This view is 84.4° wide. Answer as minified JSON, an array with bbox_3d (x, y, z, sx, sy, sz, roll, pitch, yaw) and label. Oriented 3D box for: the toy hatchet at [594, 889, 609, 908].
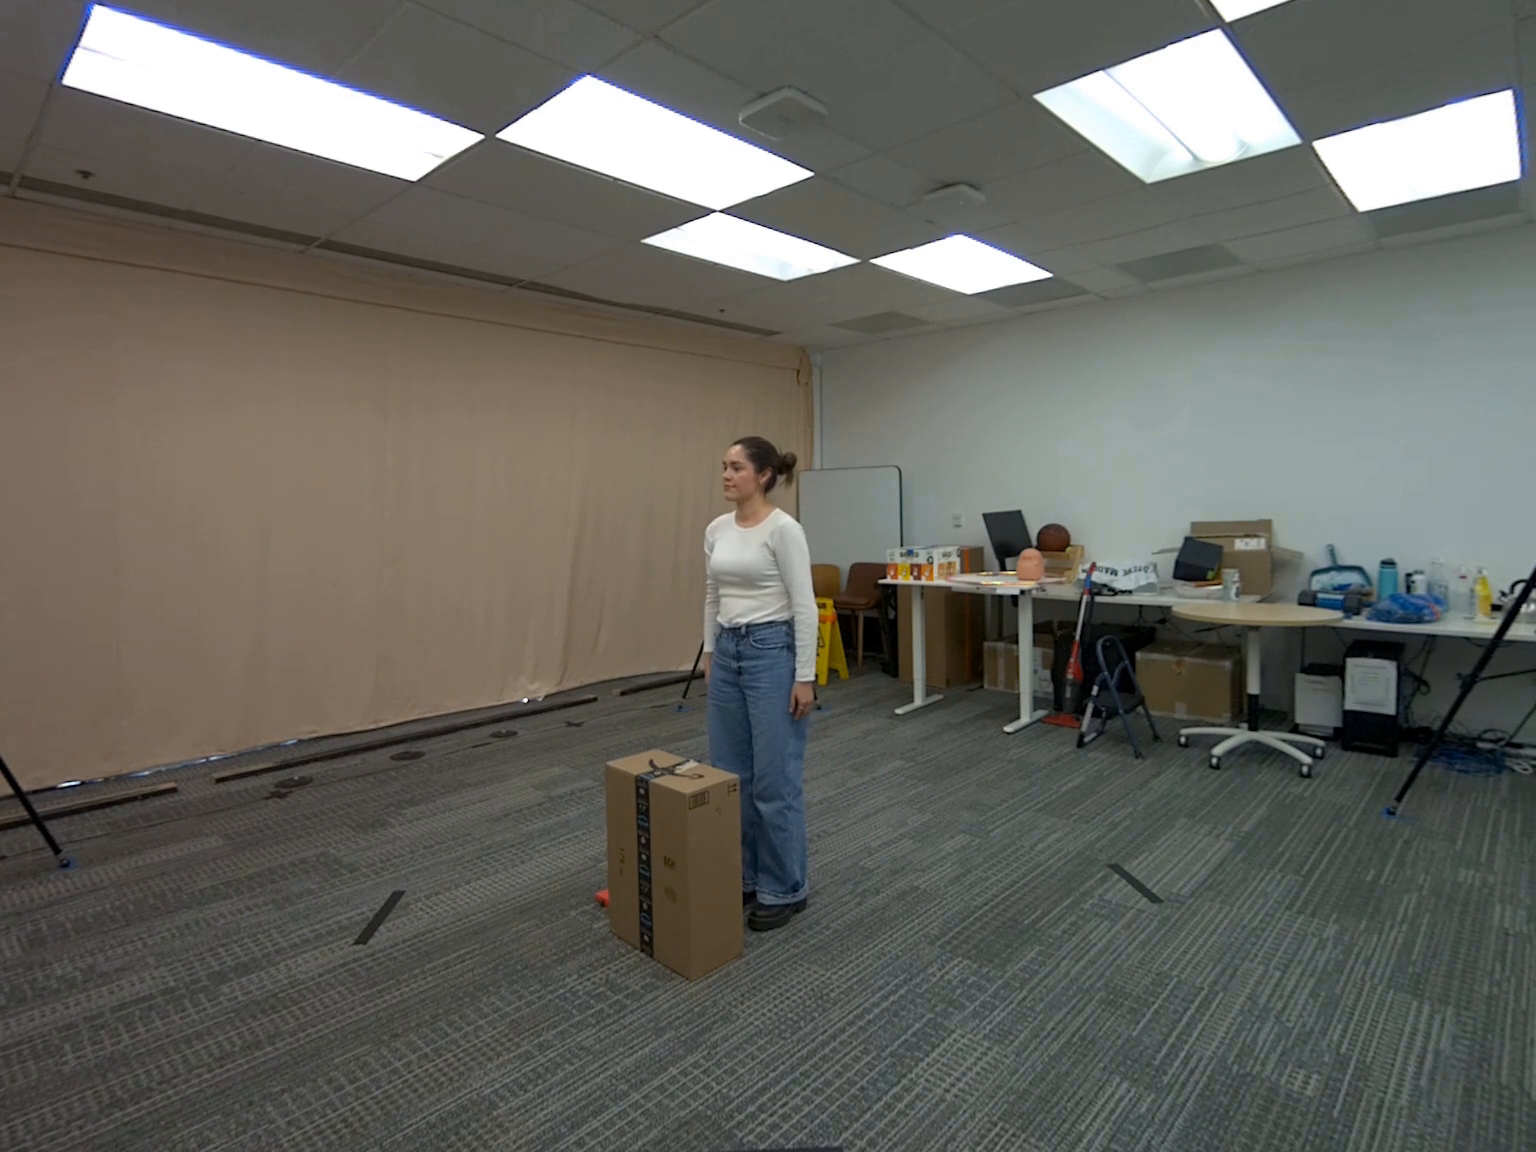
[{"bbox_3d":[-0.525,1.138,3.059,0.134,0.029,0.264,-3,2,24],"label":"toy hatchet"}]
